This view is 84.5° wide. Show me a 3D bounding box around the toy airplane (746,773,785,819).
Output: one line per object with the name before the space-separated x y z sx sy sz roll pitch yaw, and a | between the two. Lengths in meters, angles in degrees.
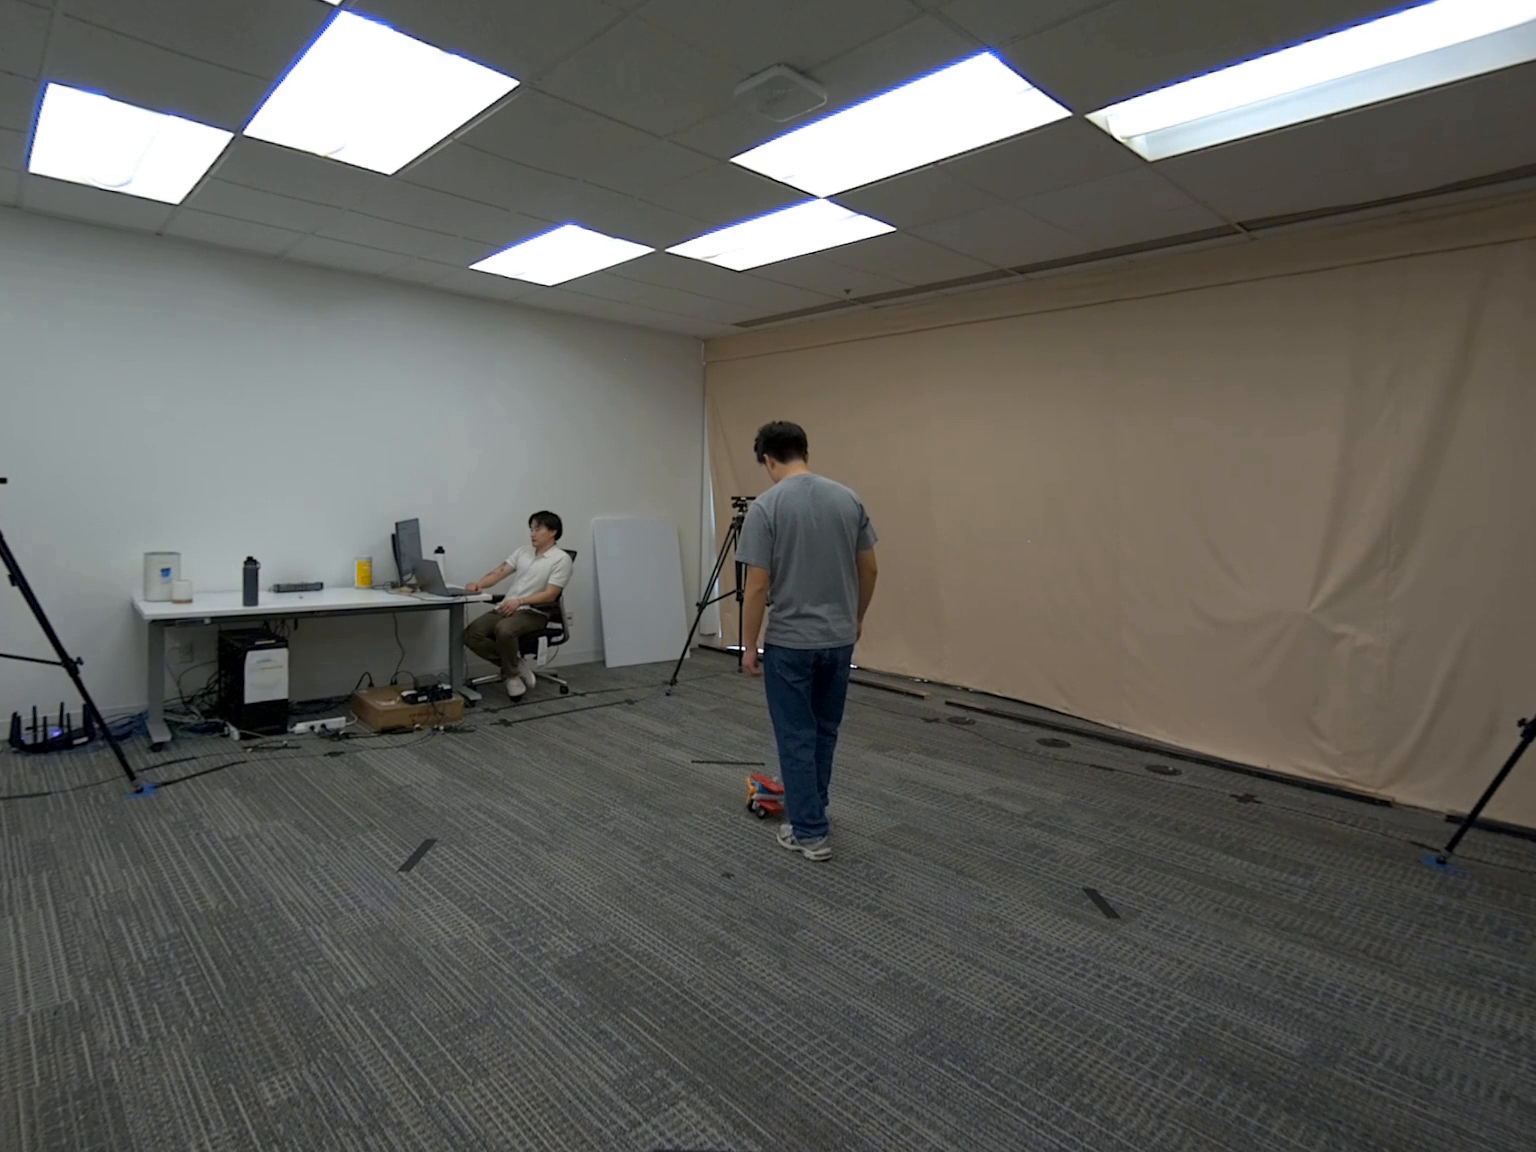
toy airplane | 0.006 0.974 3.765 0.257 0.156 0.254 4 7 36
